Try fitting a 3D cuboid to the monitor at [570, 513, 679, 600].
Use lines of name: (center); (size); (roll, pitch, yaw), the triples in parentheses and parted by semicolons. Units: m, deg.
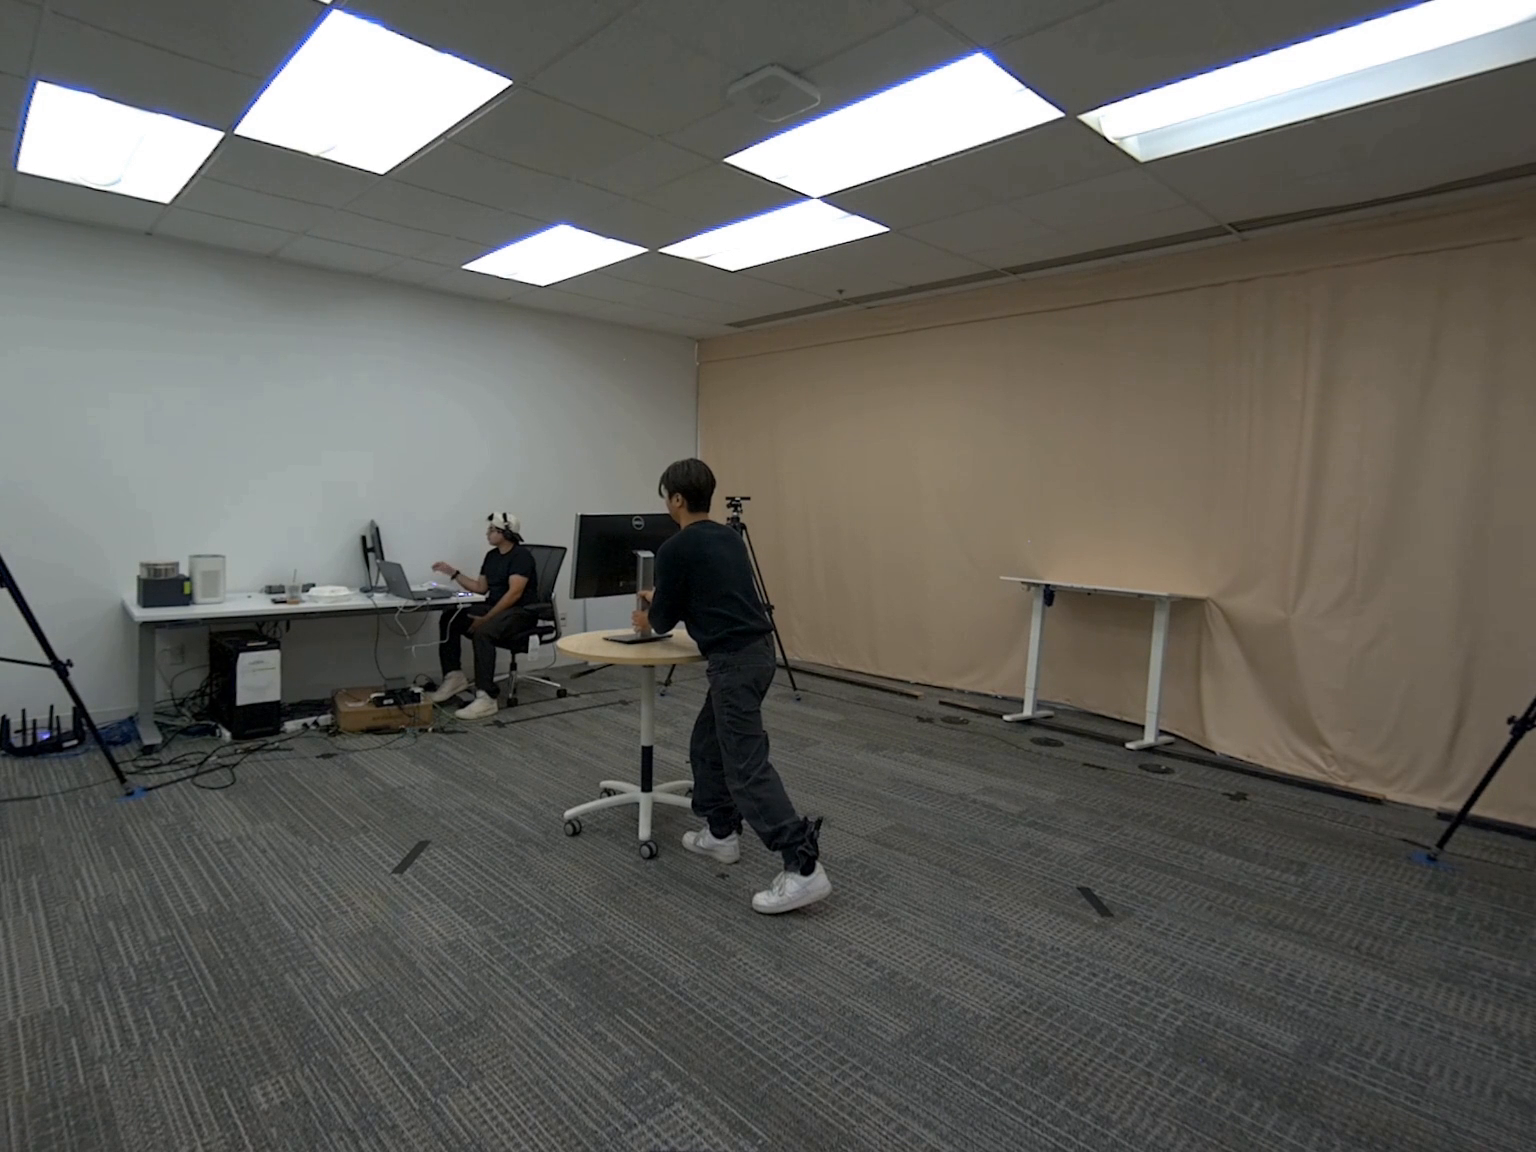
monitor: (-0.570, -0.005, 3.609); (0.518, 0.516, 0.178); (-6, 0, -44)
